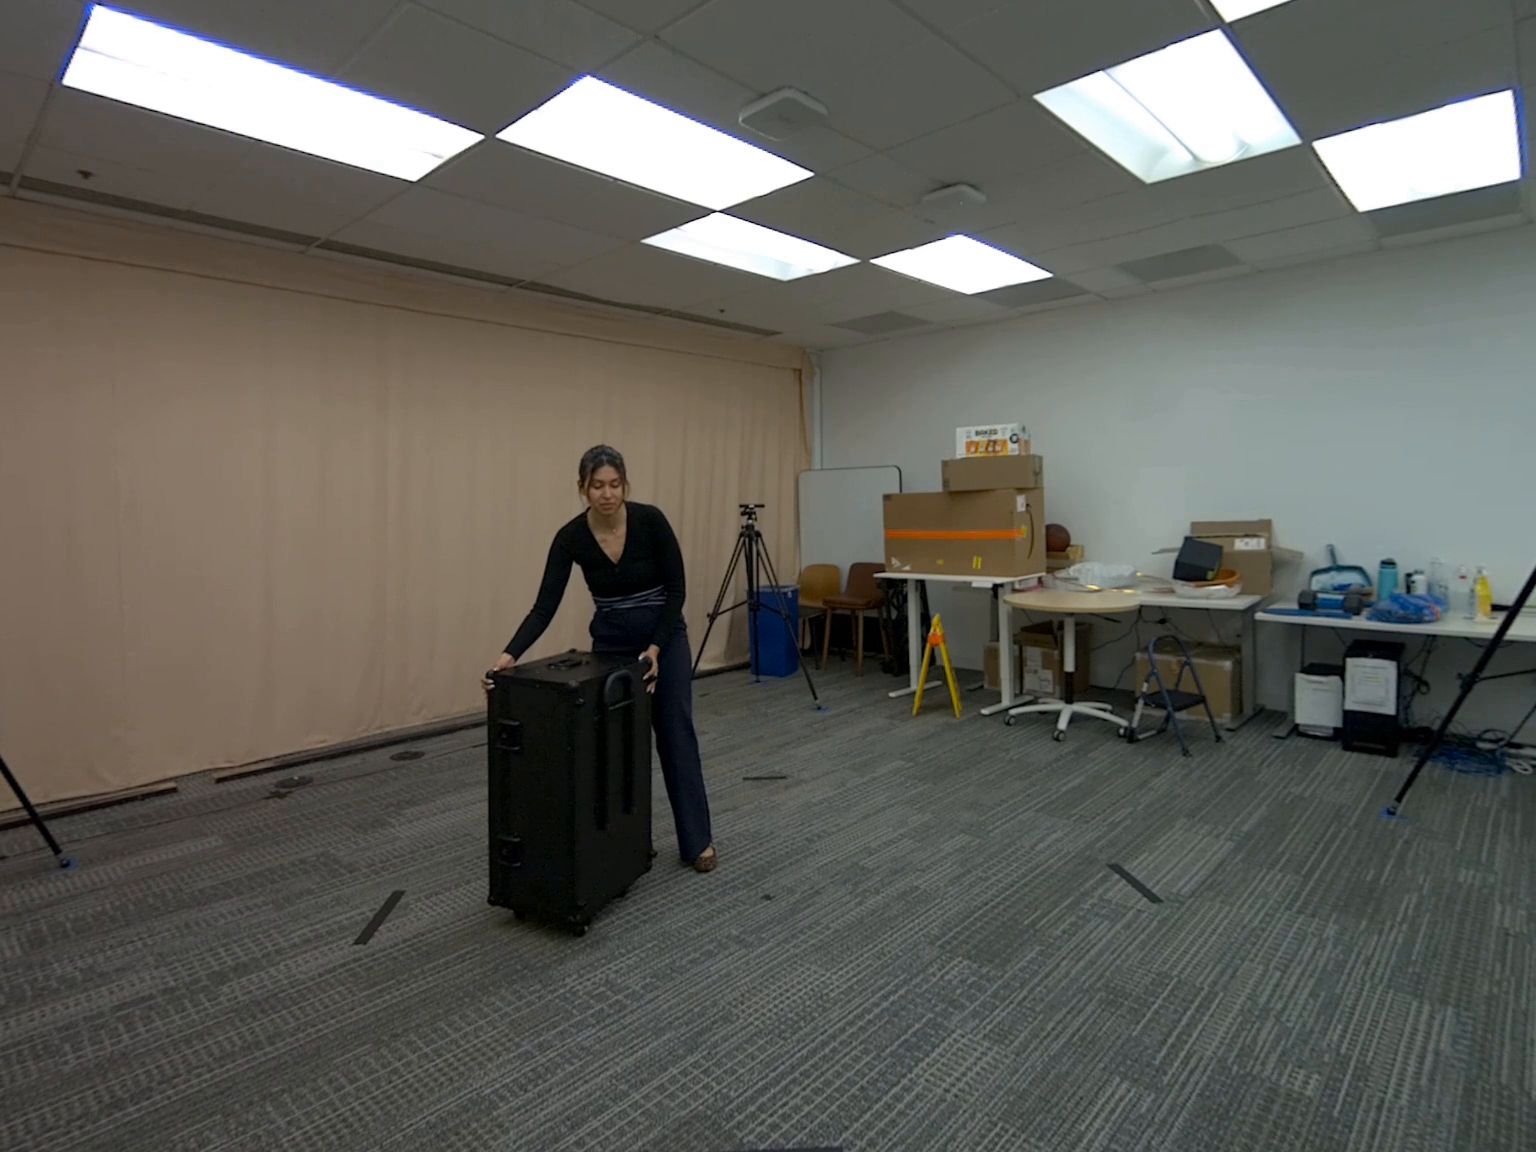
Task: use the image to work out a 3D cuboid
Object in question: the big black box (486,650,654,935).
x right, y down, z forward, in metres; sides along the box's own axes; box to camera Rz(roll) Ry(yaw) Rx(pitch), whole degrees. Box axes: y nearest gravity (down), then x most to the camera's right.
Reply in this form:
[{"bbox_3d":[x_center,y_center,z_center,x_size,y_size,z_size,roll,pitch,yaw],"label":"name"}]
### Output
[{"bbox_3d":[-0.661,0.736,2.931,0.406,0.860,0.509,2,3,24],"label":"big black box"}]
